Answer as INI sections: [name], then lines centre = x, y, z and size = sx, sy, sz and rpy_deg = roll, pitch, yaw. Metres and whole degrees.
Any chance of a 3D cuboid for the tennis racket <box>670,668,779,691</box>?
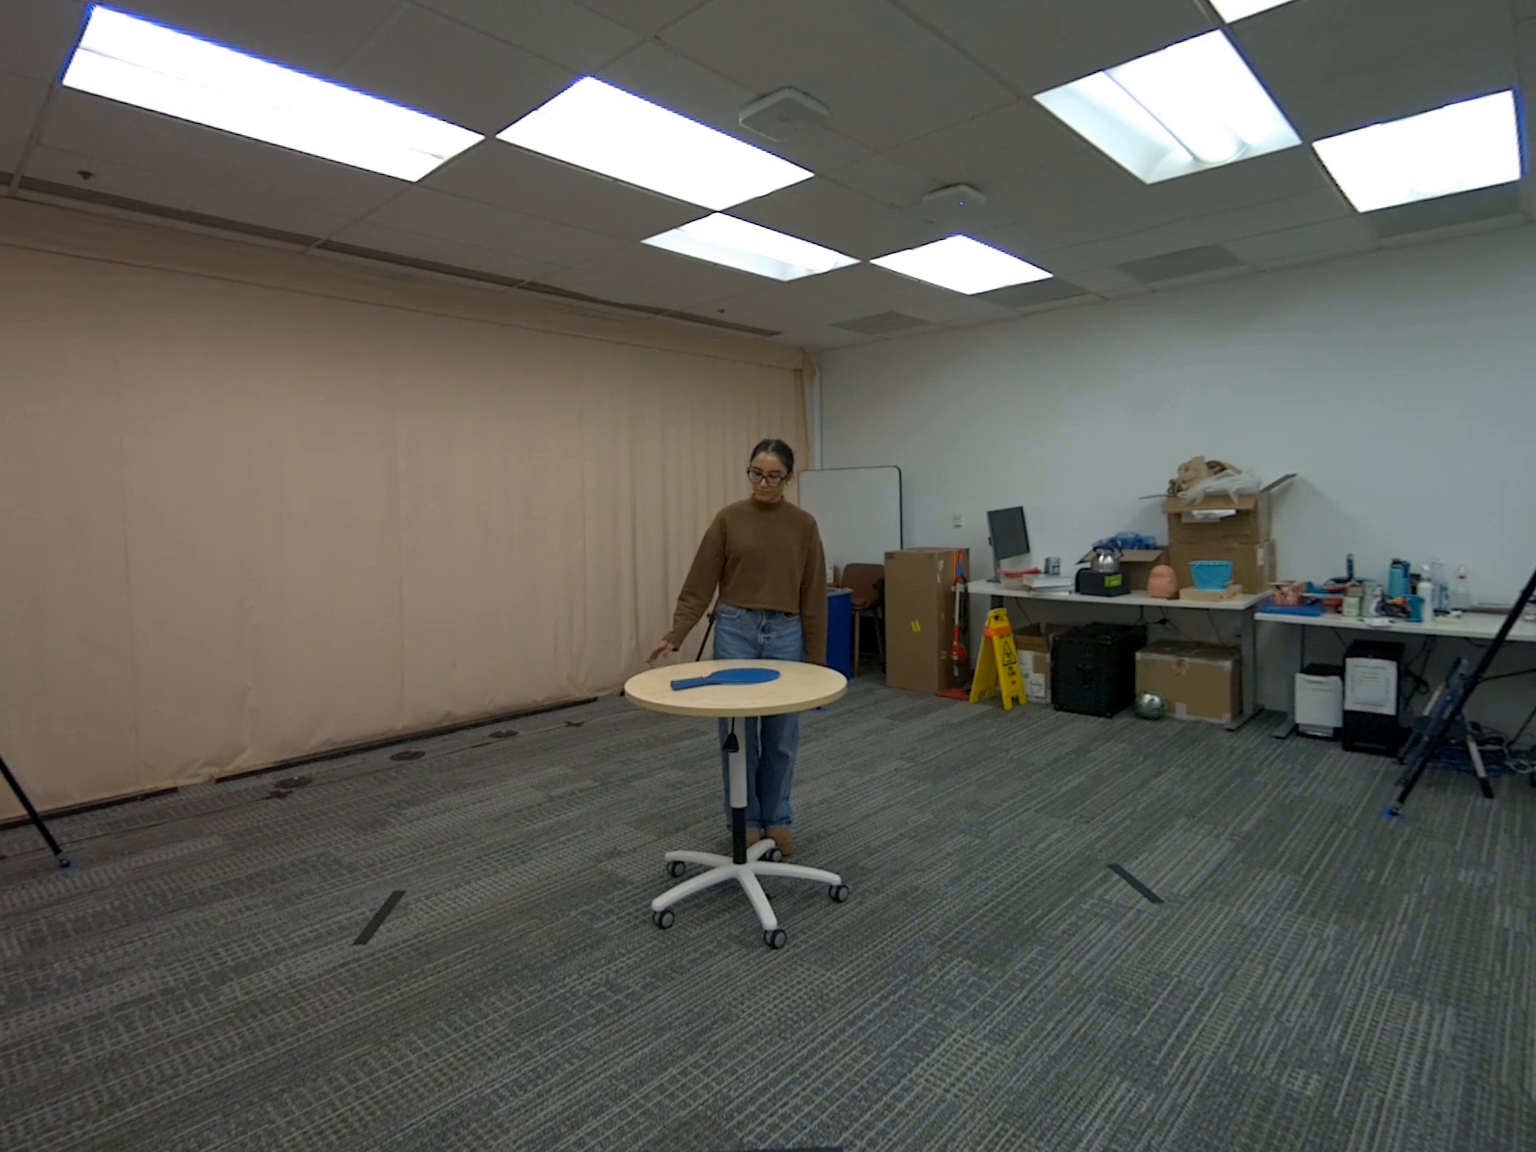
[tennis racket]
centre = -0.145, 0.356, 2.923
size = 0.420, 0.032, 0.220
rpy_deg = -3, 6, -35
